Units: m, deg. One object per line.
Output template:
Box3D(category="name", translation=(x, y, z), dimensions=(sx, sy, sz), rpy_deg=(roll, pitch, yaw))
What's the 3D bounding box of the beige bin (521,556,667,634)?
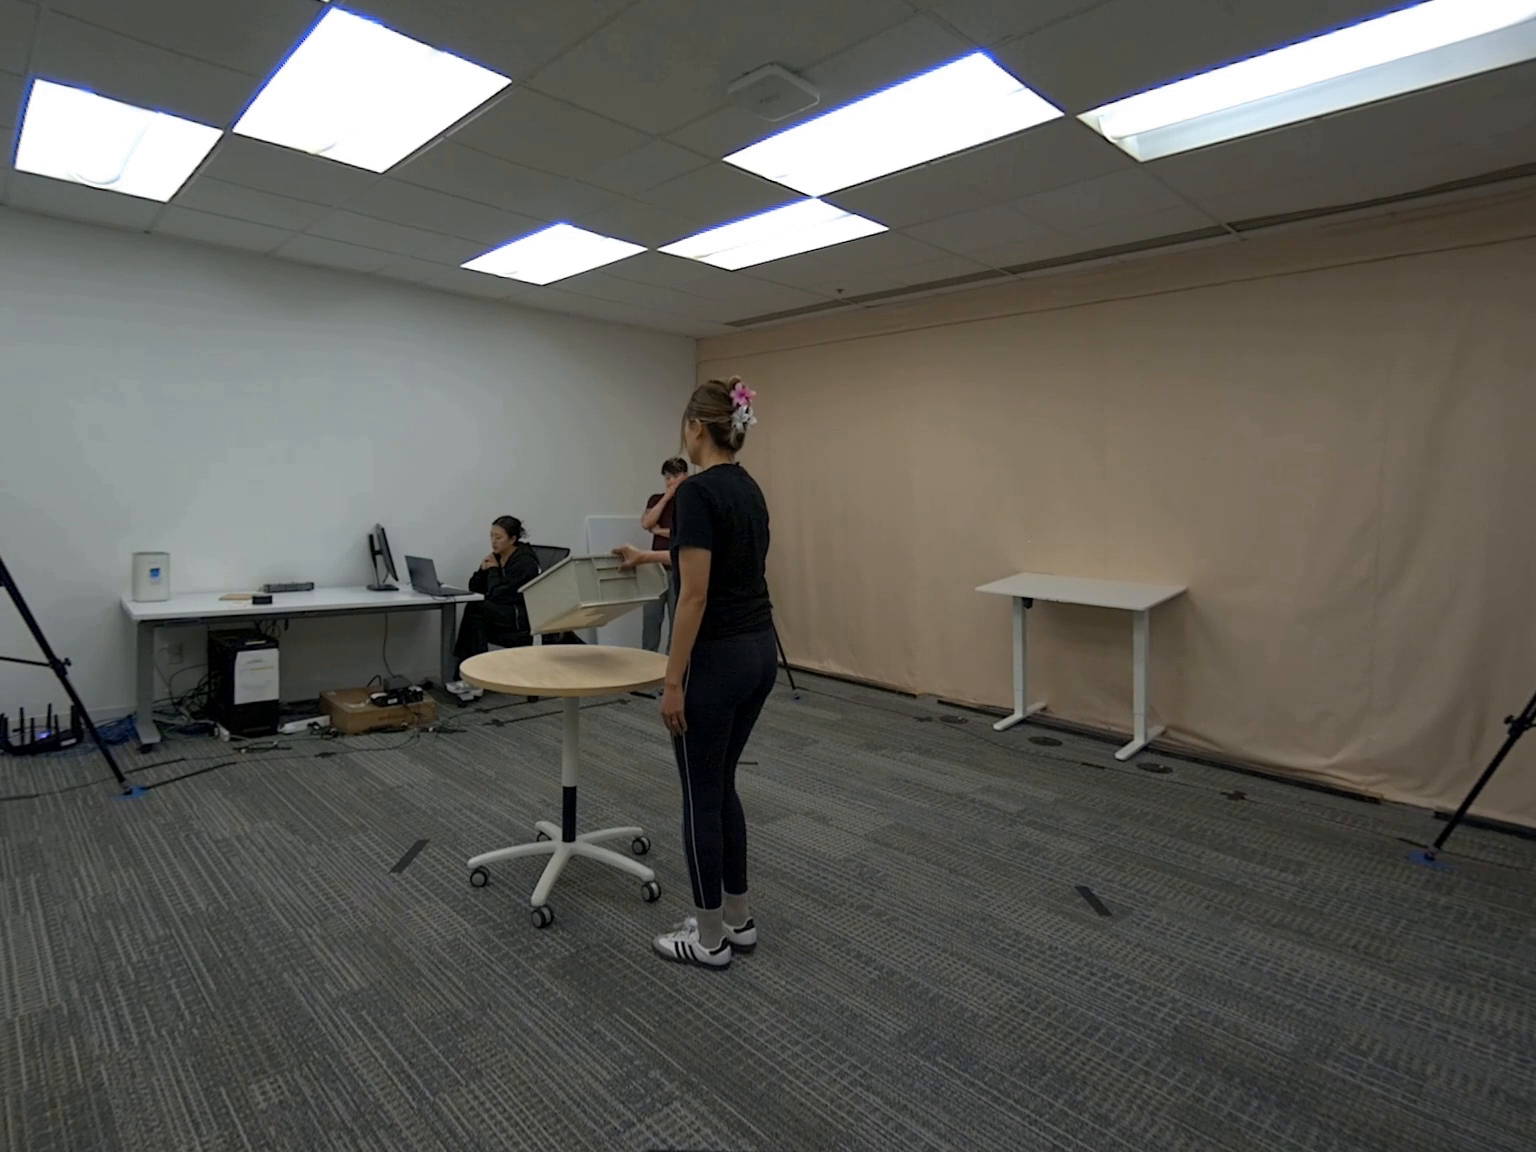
Box3D(category="beige bin", translation=(-0.645, 0.068, 3.073), dimensions=(0.369, 0.191, 0.427), rpy_deg=(-5, -12, -41))
